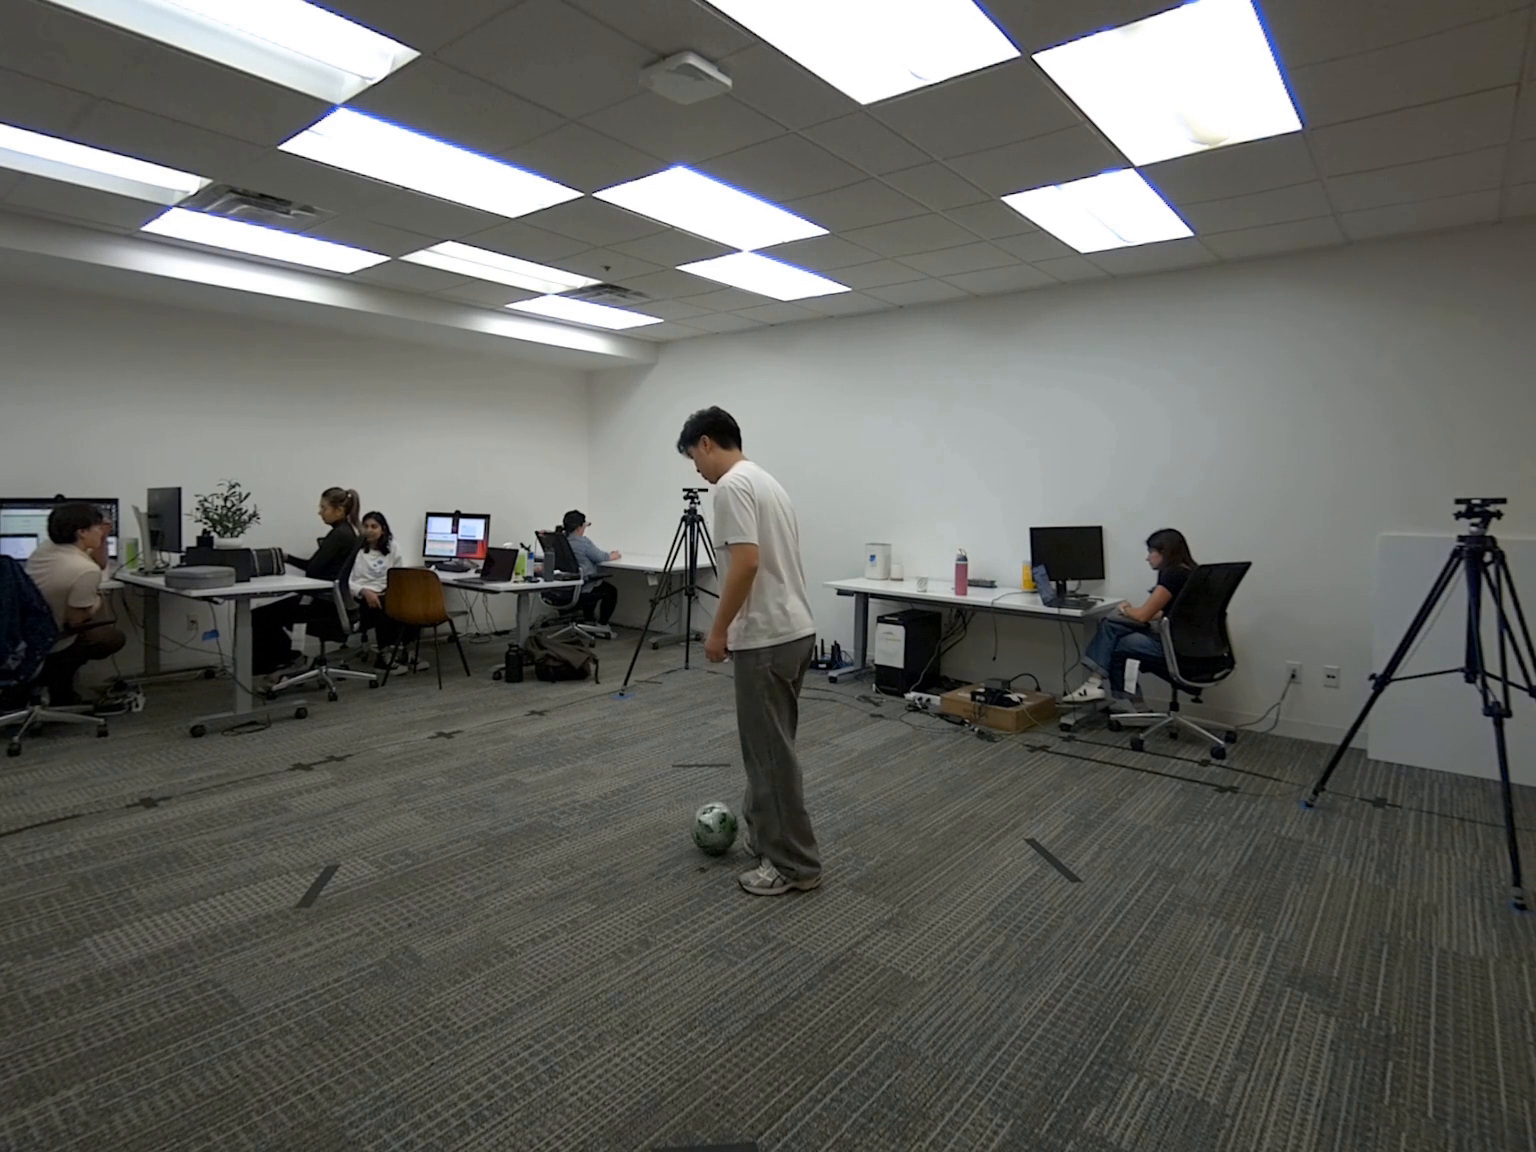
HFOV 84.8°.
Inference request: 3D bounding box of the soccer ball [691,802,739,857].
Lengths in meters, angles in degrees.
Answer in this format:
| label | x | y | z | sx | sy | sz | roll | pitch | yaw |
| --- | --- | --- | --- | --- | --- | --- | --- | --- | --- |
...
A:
| label | x | y | z | sx | sy | sz | roll | pitch | yaw |
| --- | --- | --- | --- | --- | --- | --- | --- | --- | --- |
| soccer ball | -0.204 | 0.957 | 3.265 | 0.187 | 0.187 | 0.188 | 1 | 4 | -2 |
